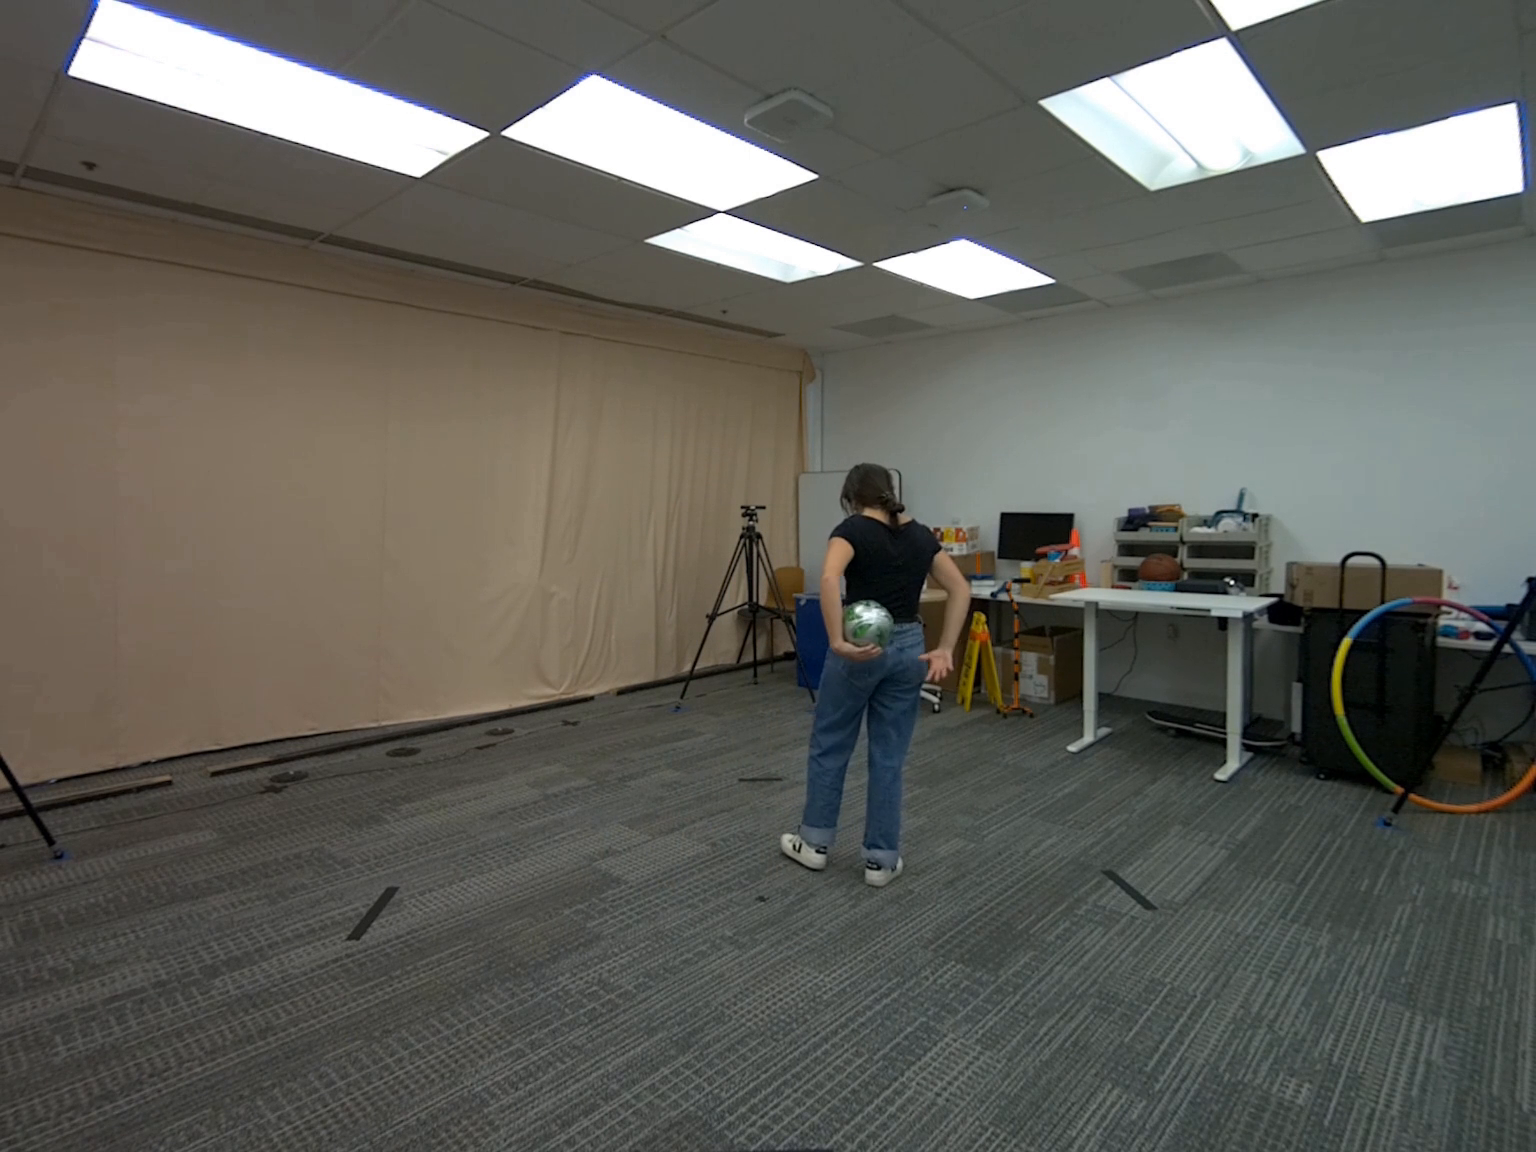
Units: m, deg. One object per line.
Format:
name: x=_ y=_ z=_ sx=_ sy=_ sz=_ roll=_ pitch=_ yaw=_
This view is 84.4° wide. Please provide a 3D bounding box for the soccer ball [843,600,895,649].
soccer ball: x=0.334 y=0.179 z=2.938 sx=0.187 sy=0.187 sz=0.188 roll=0 pitch=4 yaw=-2
